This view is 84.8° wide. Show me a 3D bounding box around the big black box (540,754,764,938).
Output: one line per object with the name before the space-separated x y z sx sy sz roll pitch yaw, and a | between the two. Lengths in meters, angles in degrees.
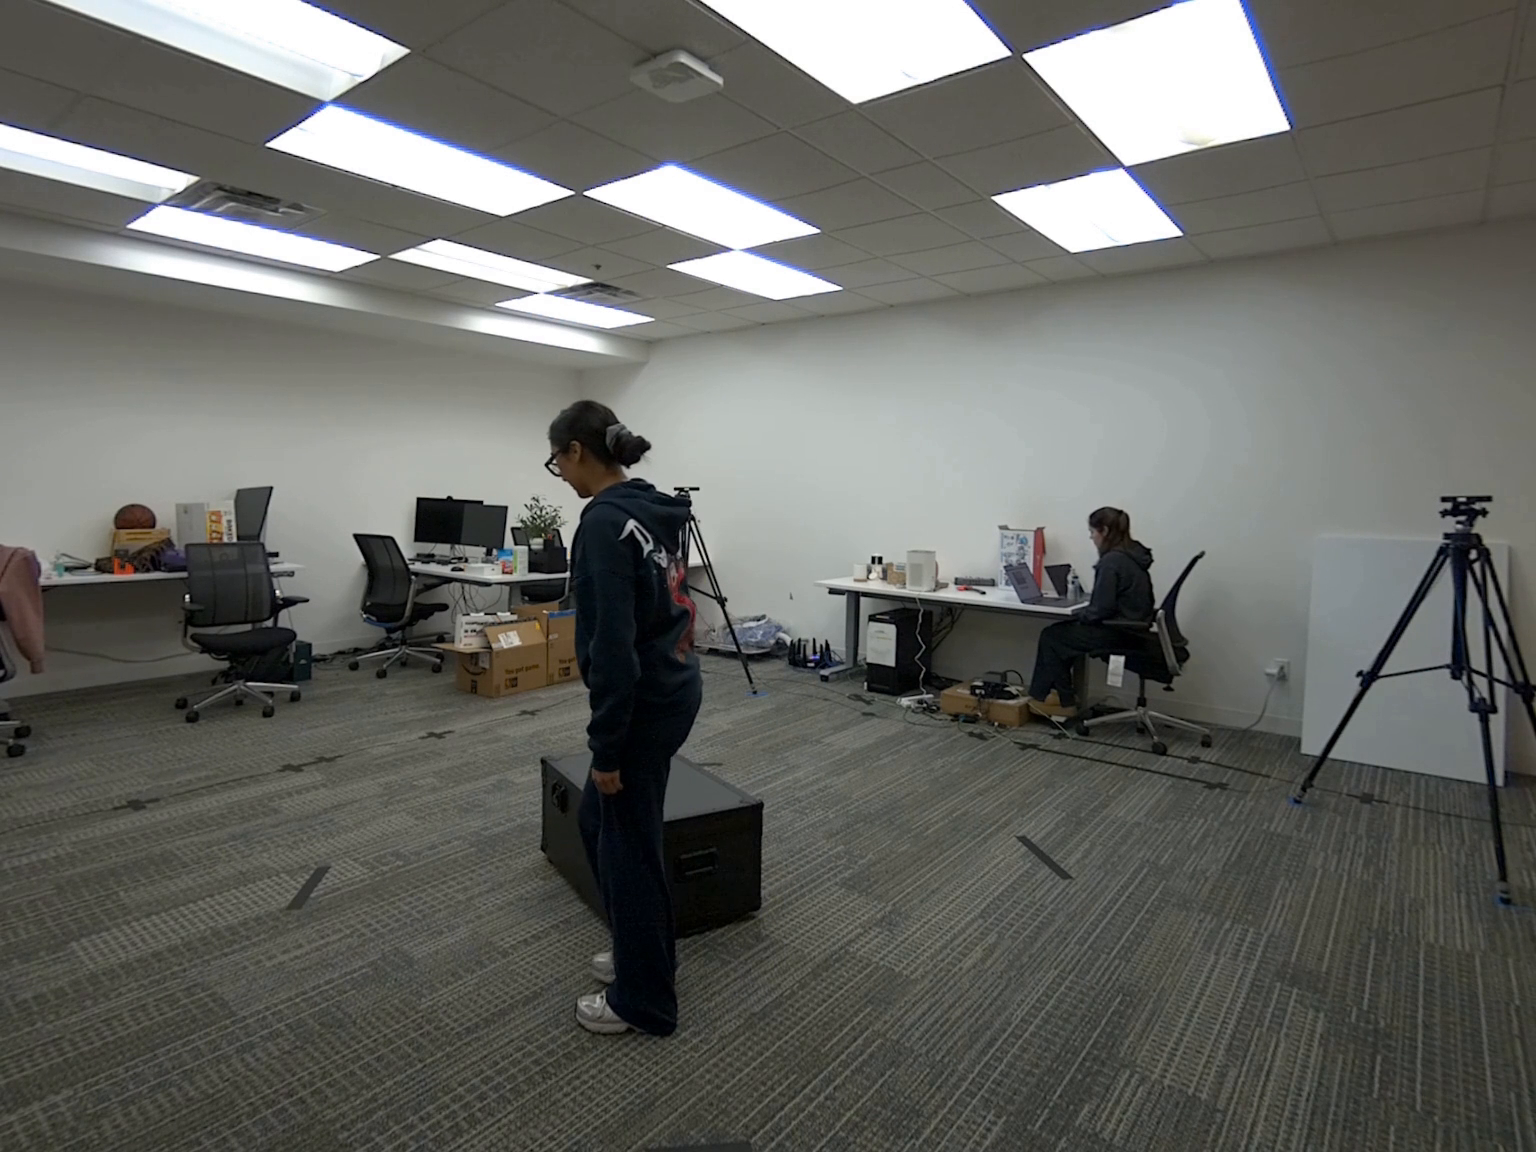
big black box | -0.462 0.897 2.991 0.385 0.519 0.890 -1 6 -35
